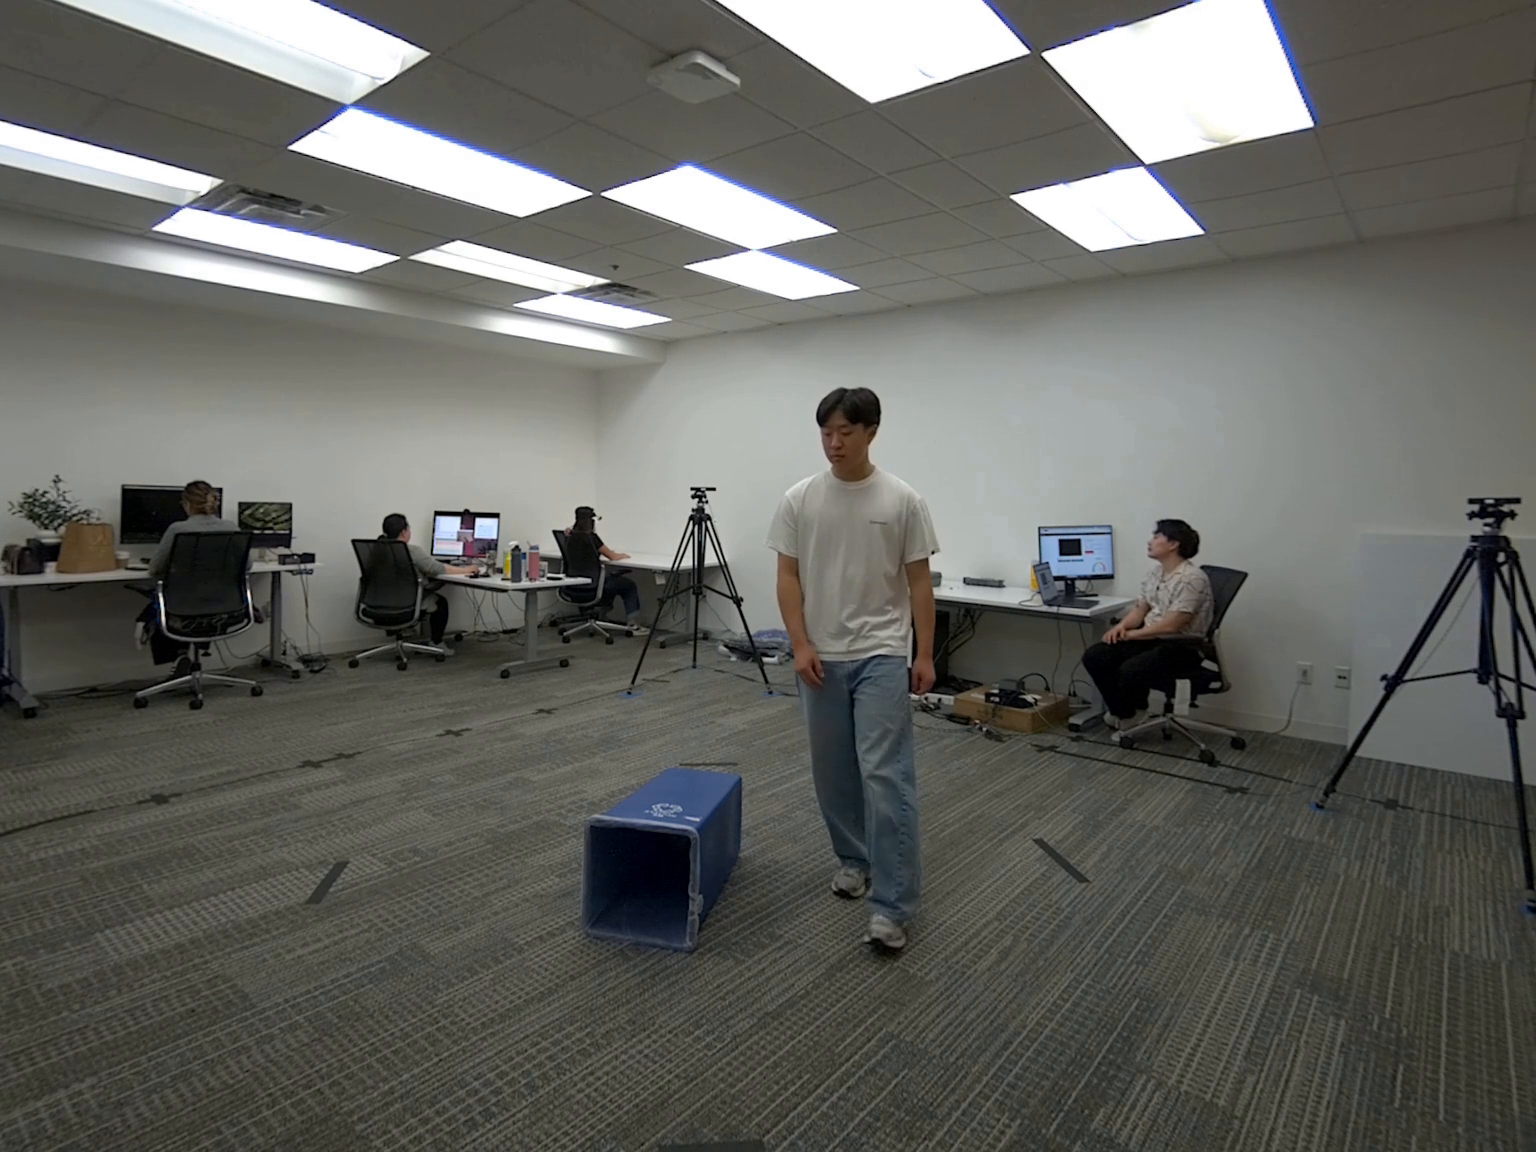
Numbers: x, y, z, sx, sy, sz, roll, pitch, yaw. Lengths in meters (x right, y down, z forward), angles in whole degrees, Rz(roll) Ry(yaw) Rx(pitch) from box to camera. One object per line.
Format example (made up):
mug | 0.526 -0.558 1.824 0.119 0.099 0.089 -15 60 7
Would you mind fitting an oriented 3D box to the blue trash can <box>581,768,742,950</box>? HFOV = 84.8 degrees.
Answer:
blue trash can | -0.335 0.912 2.917 0.380 0.378 0.704 1 2 12
